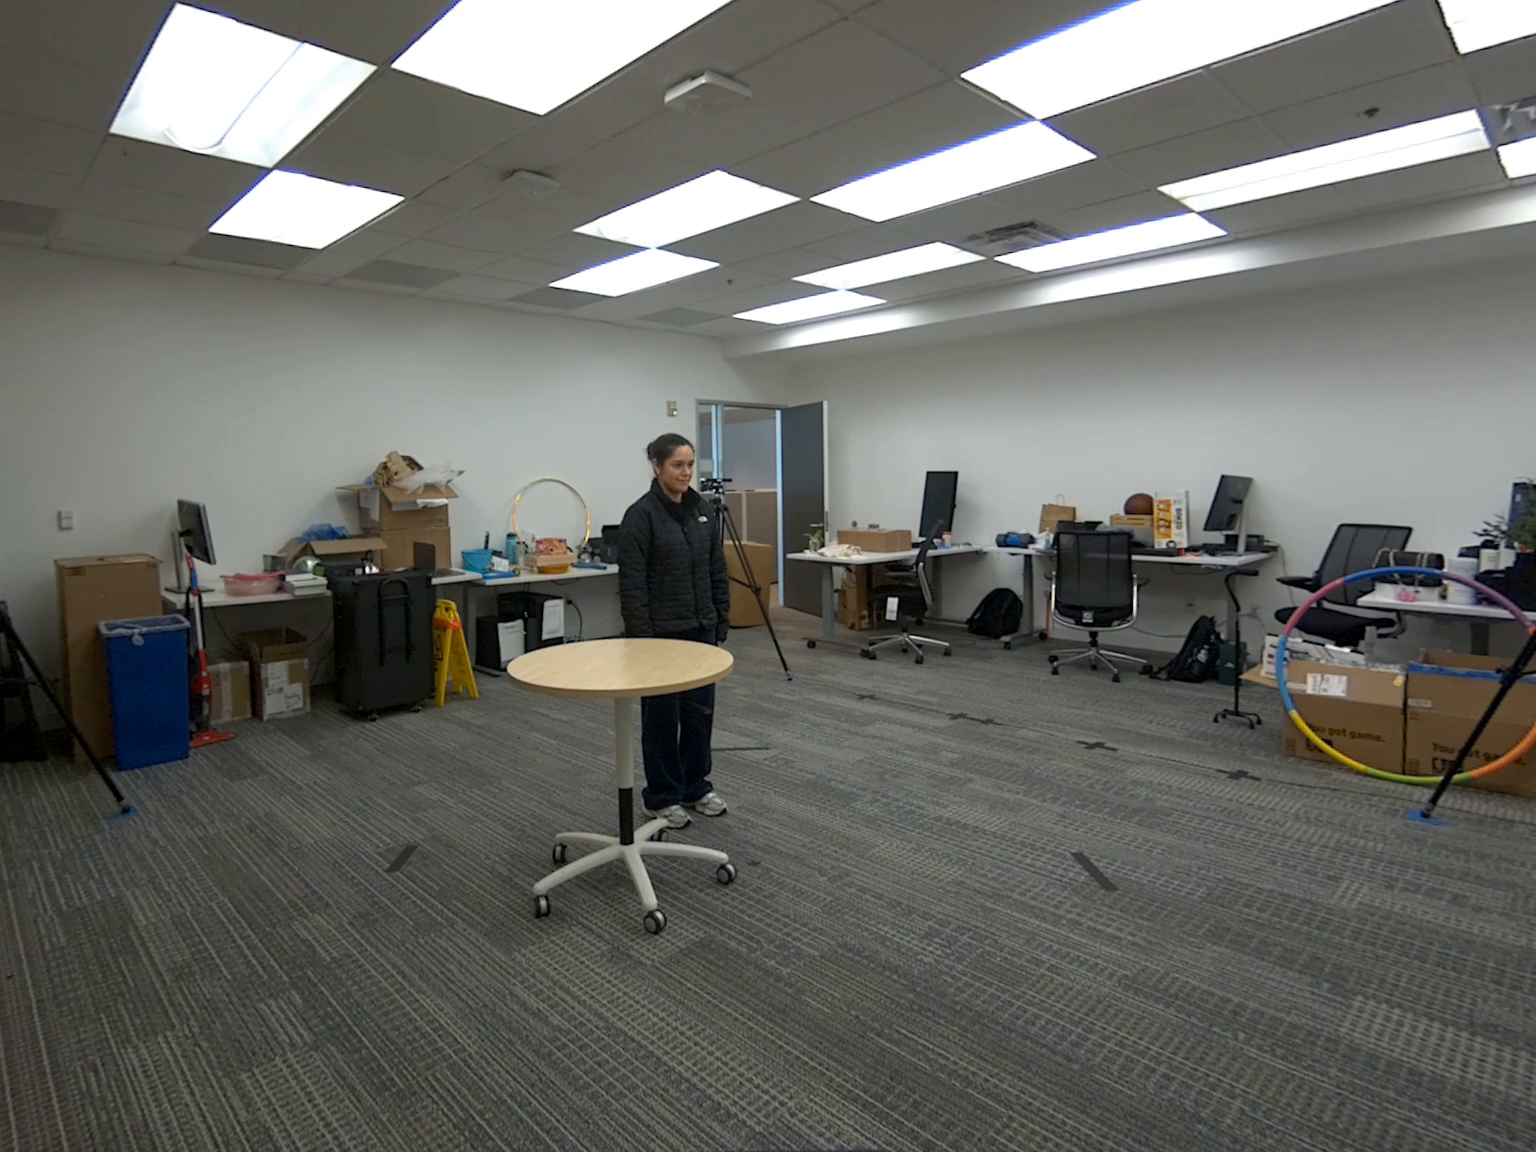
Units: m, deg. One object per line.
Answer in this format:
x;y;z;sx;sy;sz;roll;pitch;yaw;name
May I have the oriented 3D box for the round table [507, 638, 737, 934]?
-0.487;0.678;2.970;0.784;0.783;0.789;-1;5;-2;round table
